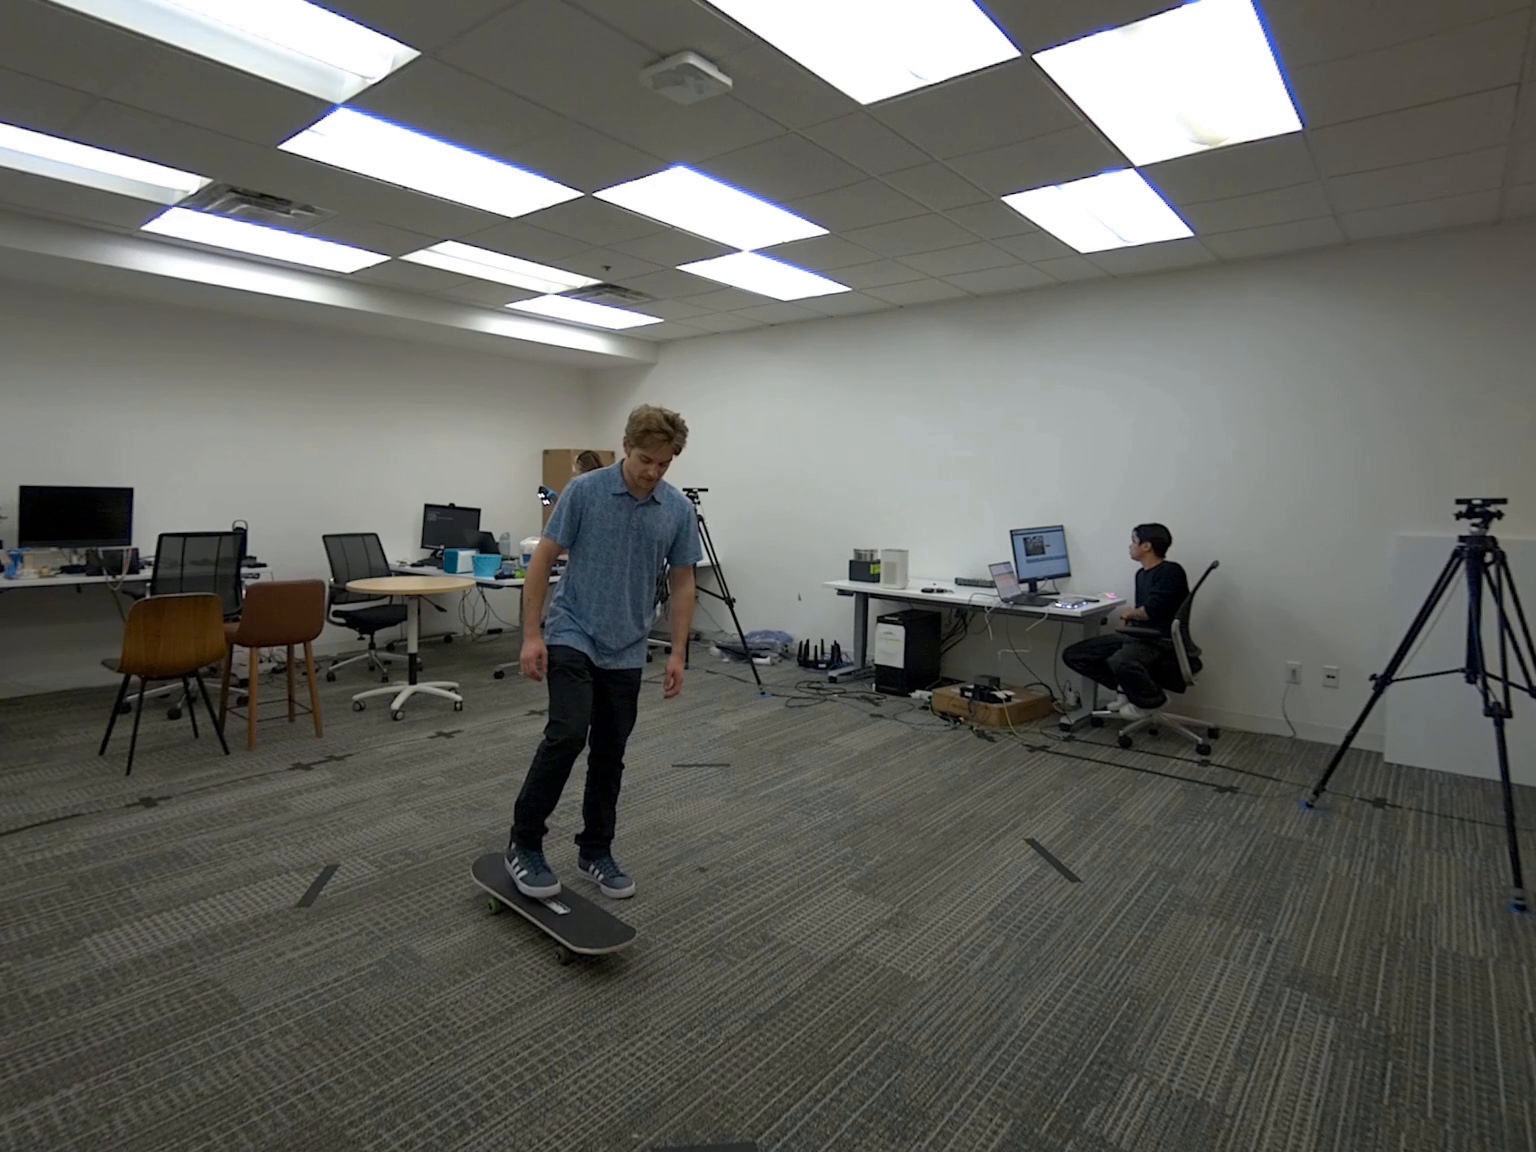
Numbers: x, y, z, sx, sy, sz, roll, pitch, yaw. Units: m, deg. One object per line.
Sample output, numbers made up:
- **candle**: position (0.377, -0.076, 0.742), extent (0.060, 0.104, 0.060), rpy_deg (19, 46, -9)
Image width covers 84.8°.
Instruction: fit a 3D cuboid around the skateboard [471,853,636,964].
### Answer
- **skateboard**: position (-0.708, 1.051, 2.667), extent (0.813, 0.110, 0.188), rpy_deg (6, 7, 44)
